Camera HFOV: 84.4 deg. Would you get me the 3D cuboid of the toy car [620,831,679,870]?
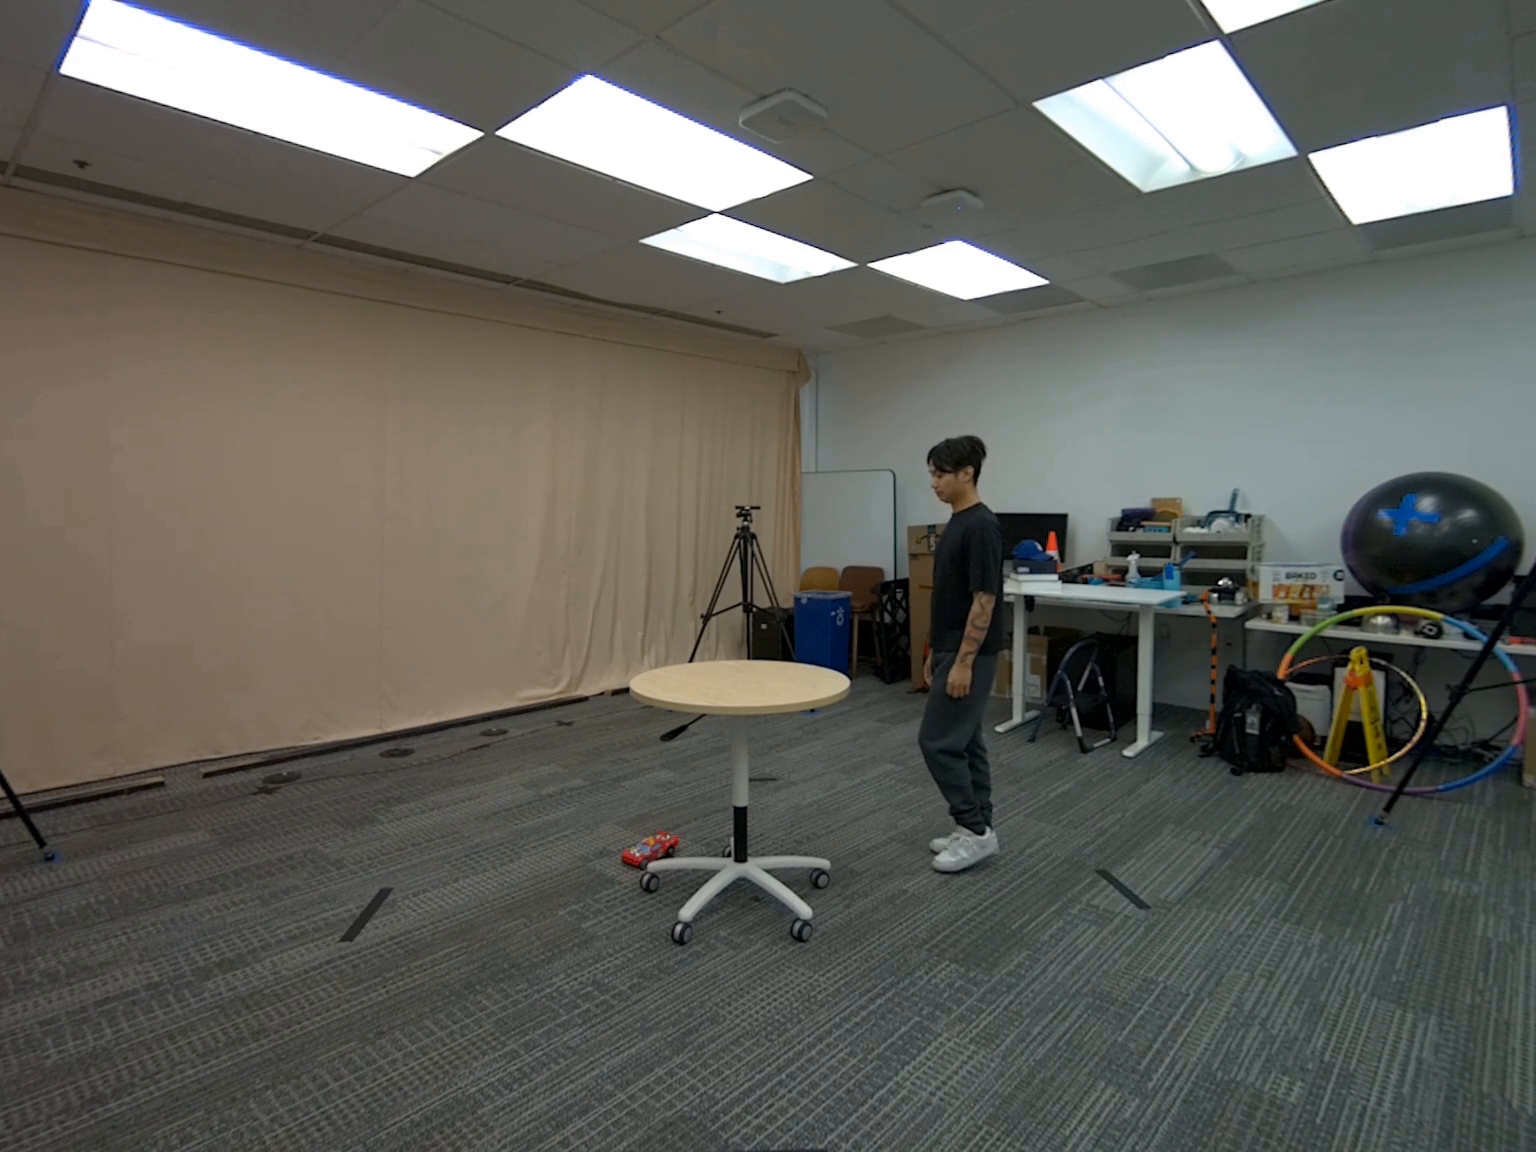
[{"bbox_3d":[-0.459,1.089,3.350,0.134,0.082,0.249,2,17,40],"label":"toy car"}]
